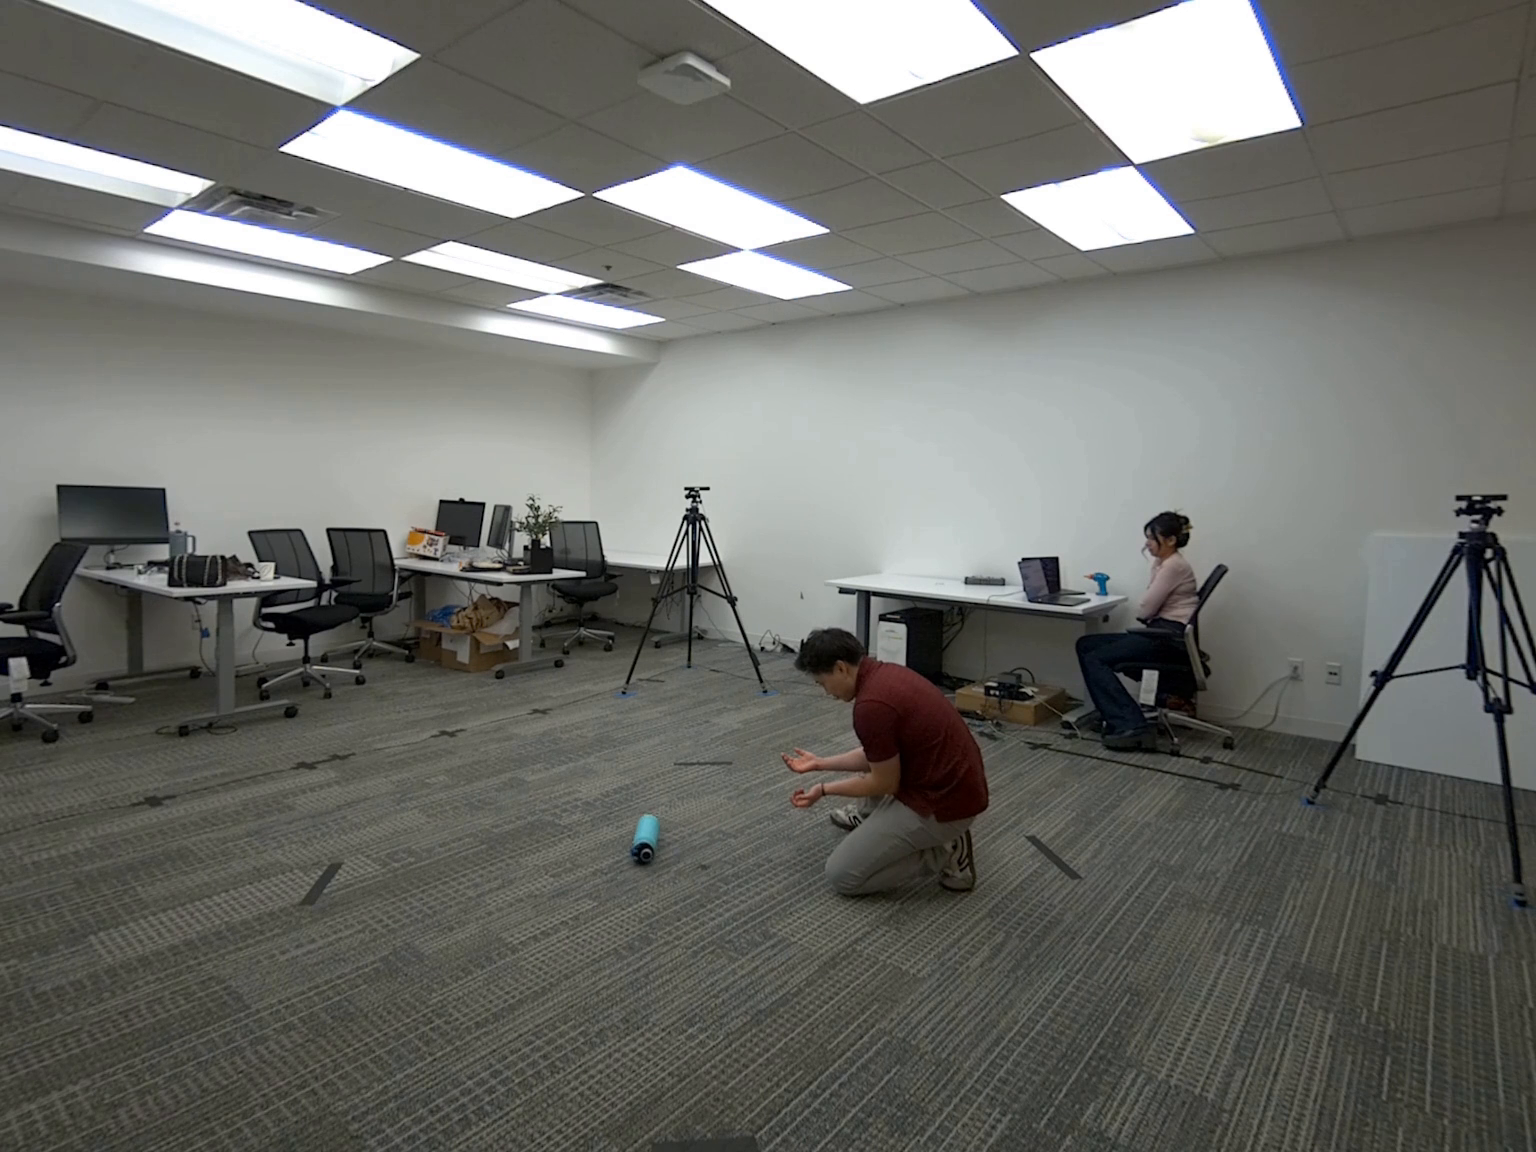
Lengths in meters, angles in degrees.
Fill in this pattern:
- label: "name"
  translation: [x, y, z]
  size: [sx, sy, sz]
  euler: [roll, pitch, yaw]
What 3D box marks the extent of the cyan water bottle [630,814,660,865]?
- label: "cyan water bottle"
  translation: [-0.476, 1.004, 3.251]
  size: [0.092, 0.092, 0.286]
  euler: [0, 8, -3]
